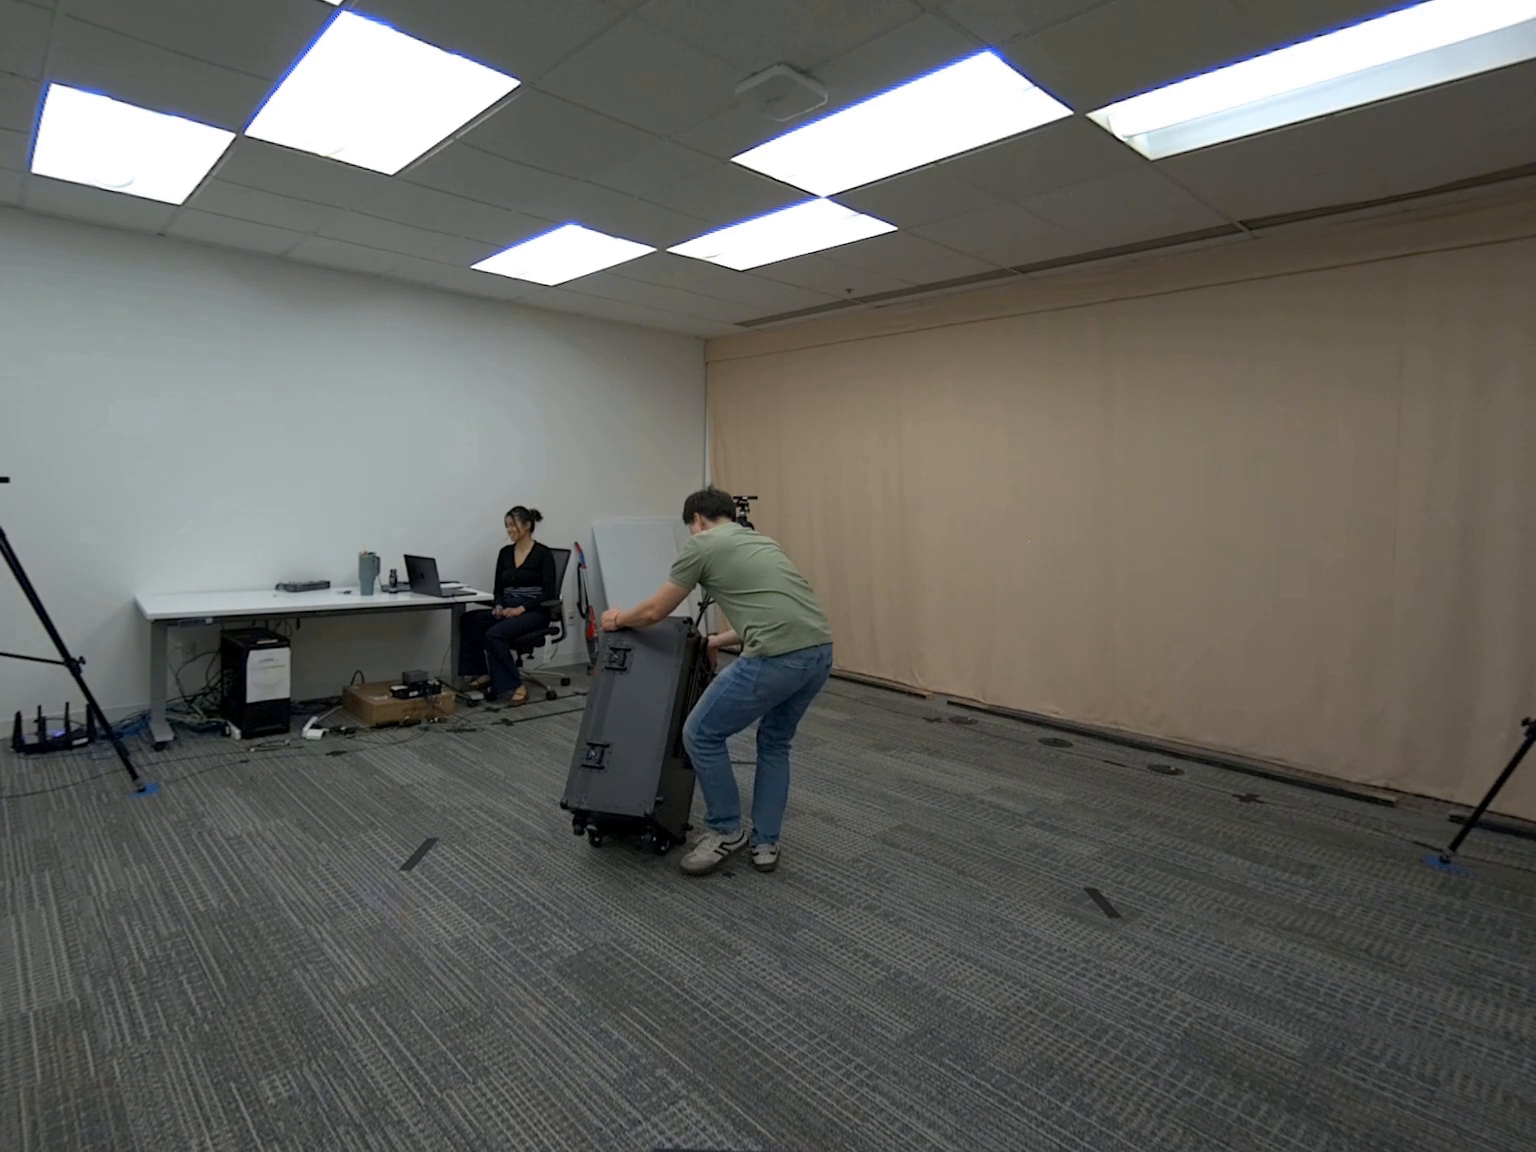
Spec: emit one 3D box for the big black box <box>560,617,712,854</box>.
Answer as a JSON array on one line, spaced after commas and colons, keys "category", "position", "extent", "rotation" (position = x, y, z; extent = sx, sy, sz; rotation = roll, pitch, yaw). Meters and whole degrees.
[{"category": "big black box", "position": [-0.490, 0.589, 3.401], "extent": [0.401, 0.874, 0.507], "rotation": [1, -28, 13]}]
